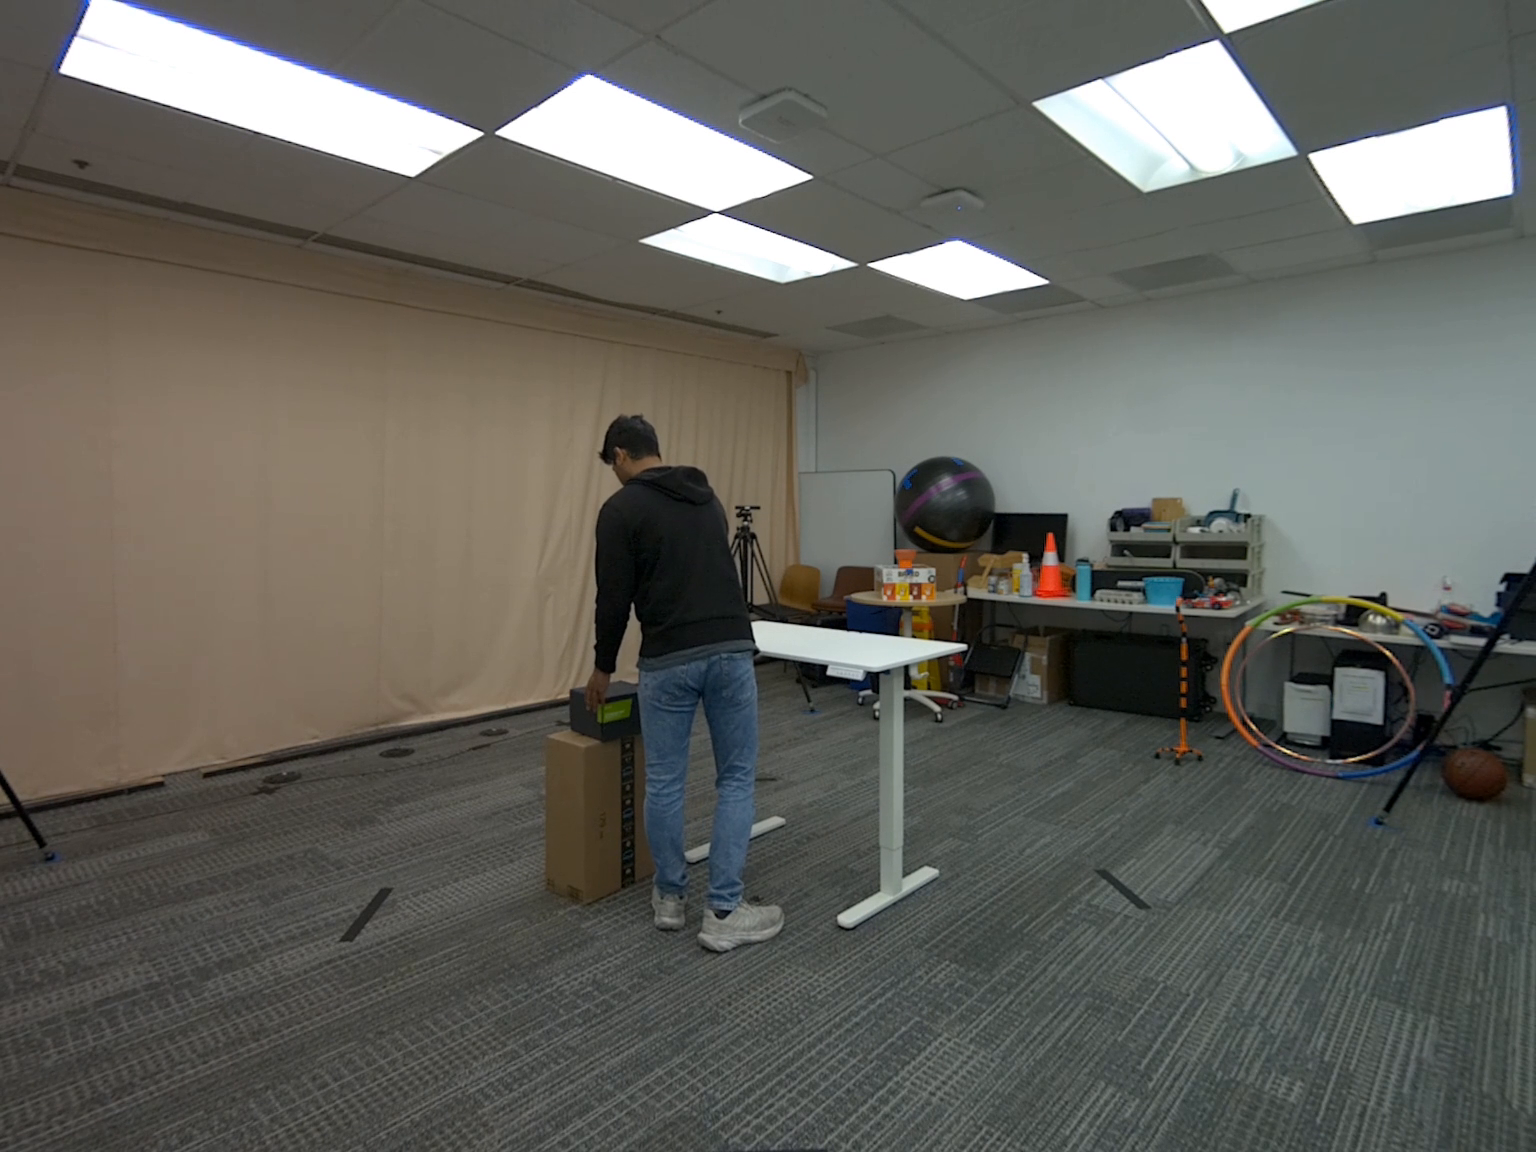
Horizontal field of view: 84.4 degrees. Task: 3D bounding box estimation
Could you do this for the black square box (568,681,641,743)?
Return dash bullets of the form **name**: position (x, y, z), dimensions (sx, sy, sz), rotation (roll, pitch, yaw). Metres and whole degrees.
- **black square box**: position (-0.578, 0.494, 3.117), dimensions (0.221, 0.155, 0.224), rotation (-3, 5, -44)
